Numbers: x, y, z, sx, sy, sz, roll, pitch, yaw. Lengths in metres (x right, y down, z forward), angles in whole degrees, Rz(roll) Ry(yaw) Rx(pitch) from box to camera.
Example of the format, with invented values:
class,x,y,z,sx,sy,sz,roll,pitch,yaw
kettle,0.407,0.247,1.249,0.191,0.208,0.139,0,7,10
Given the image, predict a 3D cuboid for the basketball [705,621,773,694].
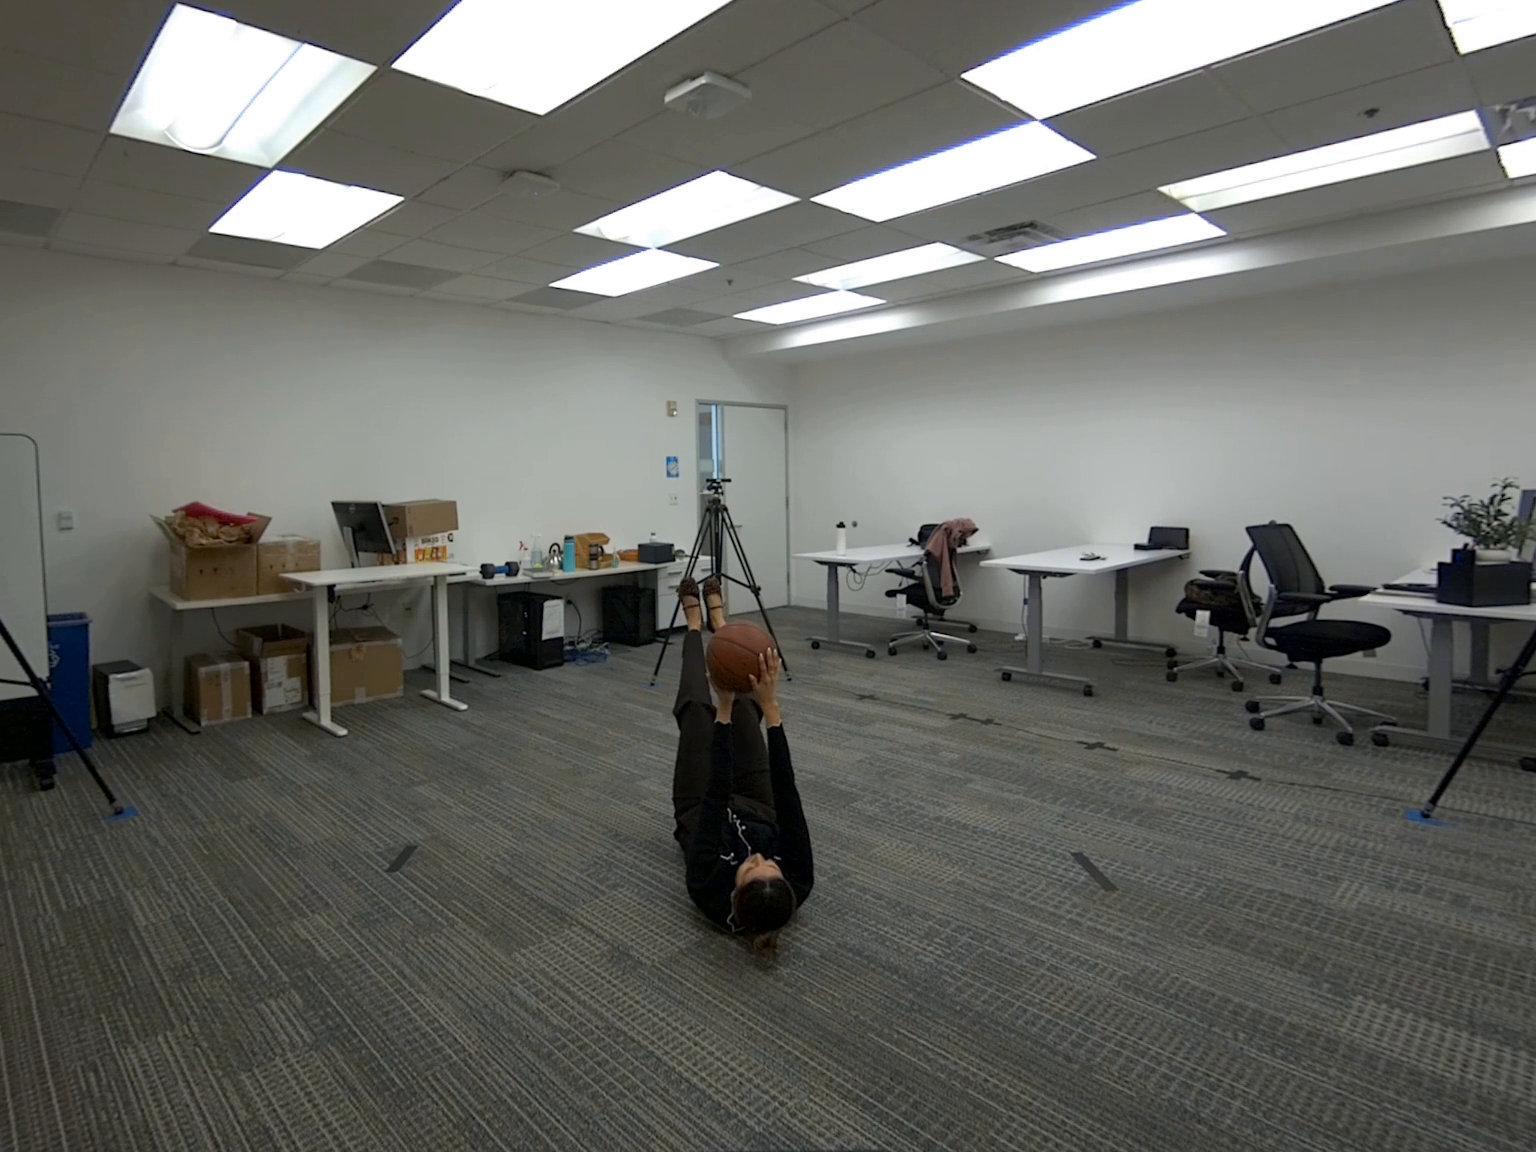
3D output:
class,x,y,z,sx,sy,sz,roll,pitch,yaw
basketball,-0.084,0.263,2.787,0.236,0.235,0.237,-1,5,-2
